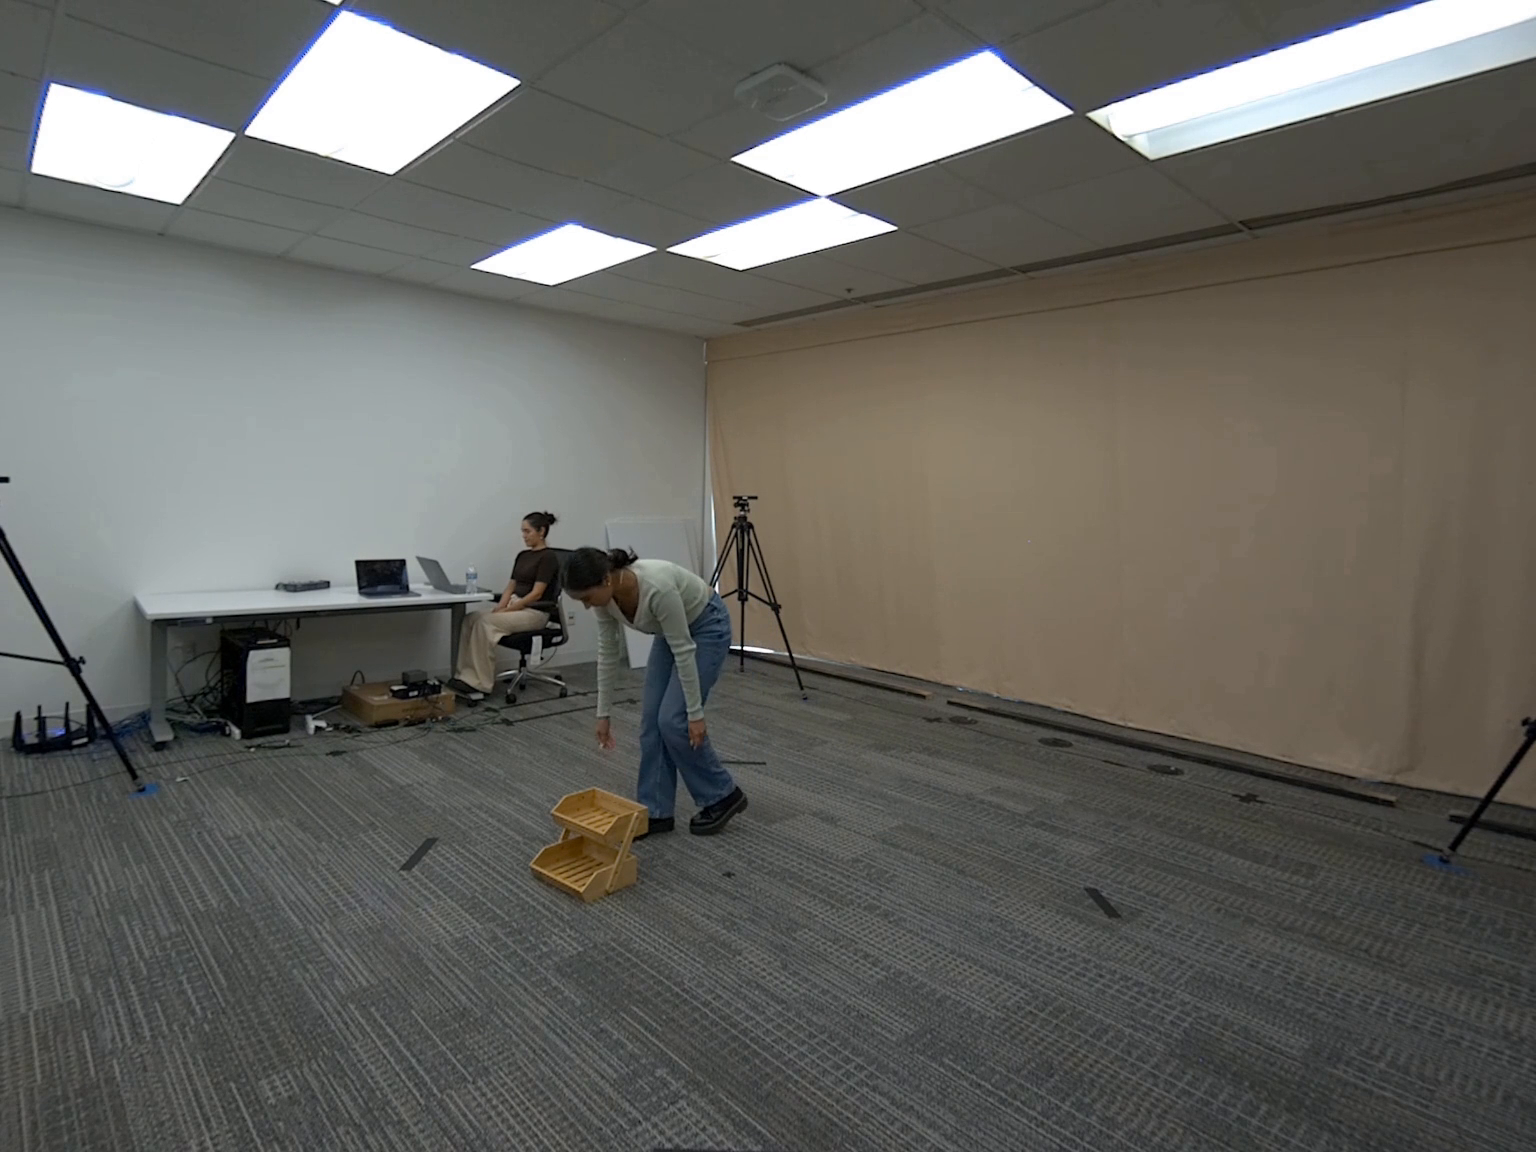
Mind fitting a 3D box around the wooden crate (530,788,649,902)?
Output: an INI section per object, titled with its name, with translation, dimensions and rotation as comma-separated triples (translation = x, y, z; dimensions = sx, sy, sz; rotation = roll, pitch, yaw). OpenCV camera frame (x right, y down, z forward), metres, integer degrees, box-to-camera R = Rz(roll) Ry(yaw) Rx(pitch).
[wooden crate]
translation = -0.657, 0.963, 3.046
dimensions = 0.333, 0.273, 0.295
rotation = 5, 5, 40
